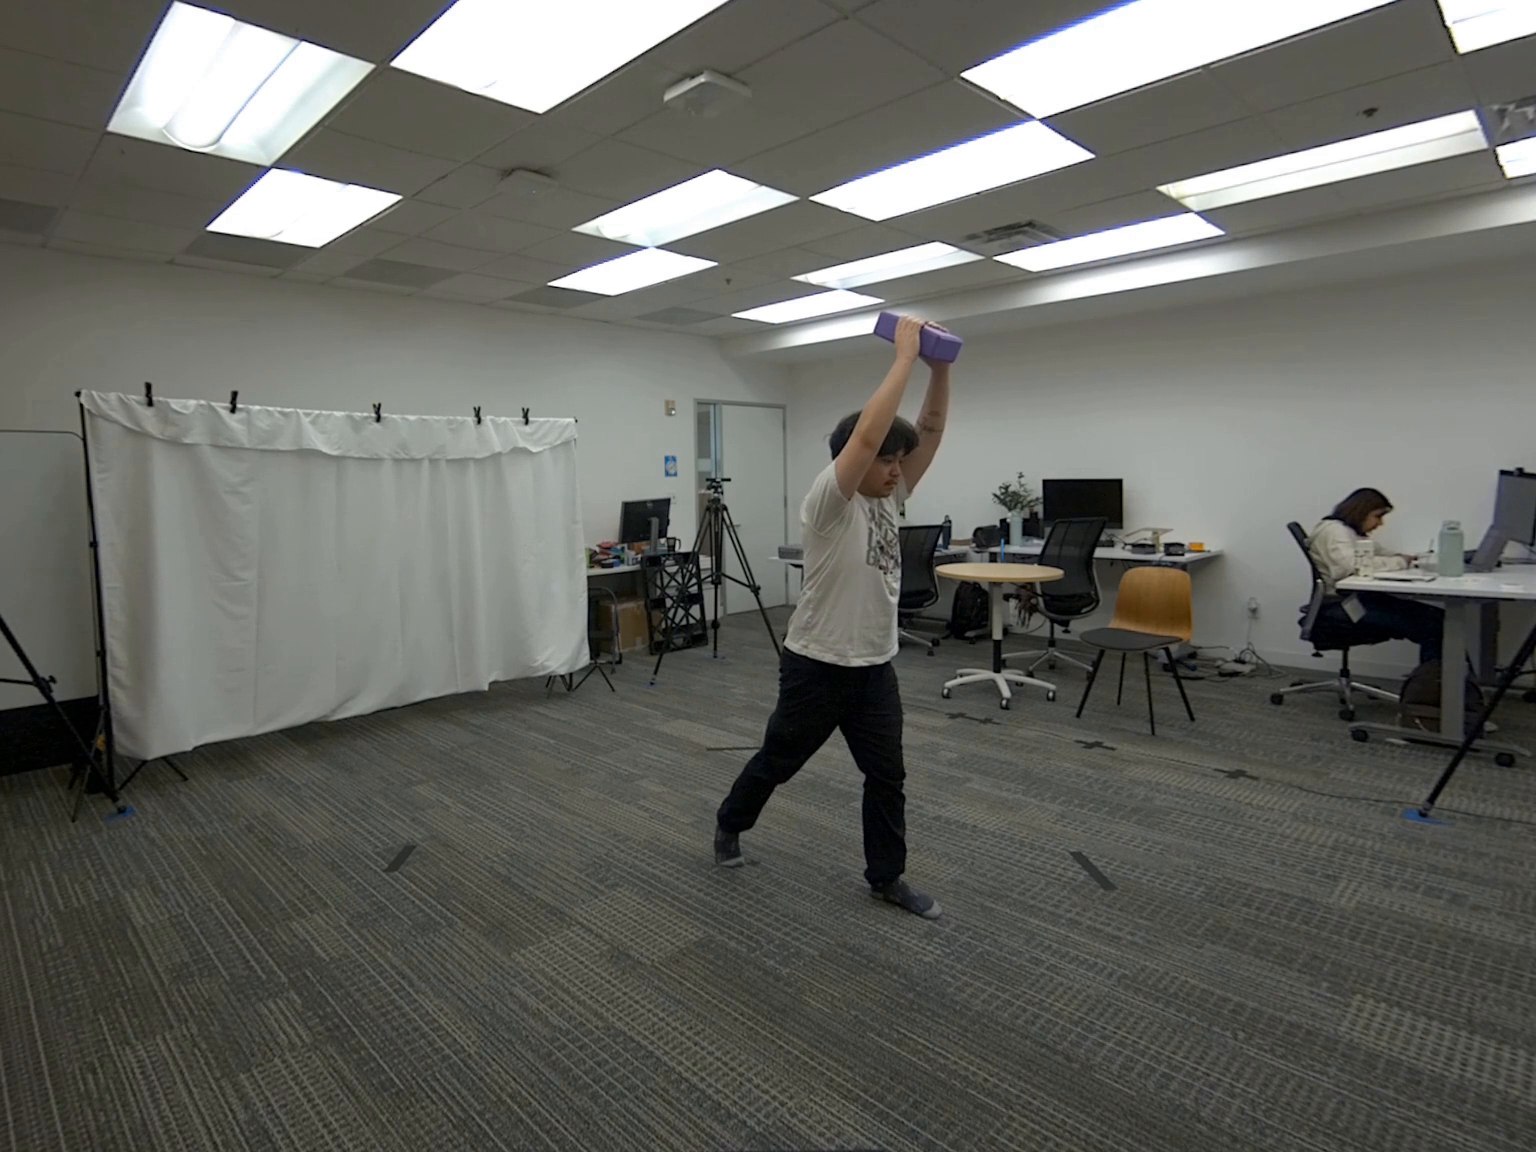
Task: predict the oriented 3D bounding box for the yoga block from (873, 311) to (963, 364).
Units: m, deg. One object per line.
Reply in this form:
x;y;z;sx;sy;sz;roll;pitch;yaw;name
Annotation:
0.457;-0.719;2.591;0.238;0.075;0.145;36;27;34;yoga block
